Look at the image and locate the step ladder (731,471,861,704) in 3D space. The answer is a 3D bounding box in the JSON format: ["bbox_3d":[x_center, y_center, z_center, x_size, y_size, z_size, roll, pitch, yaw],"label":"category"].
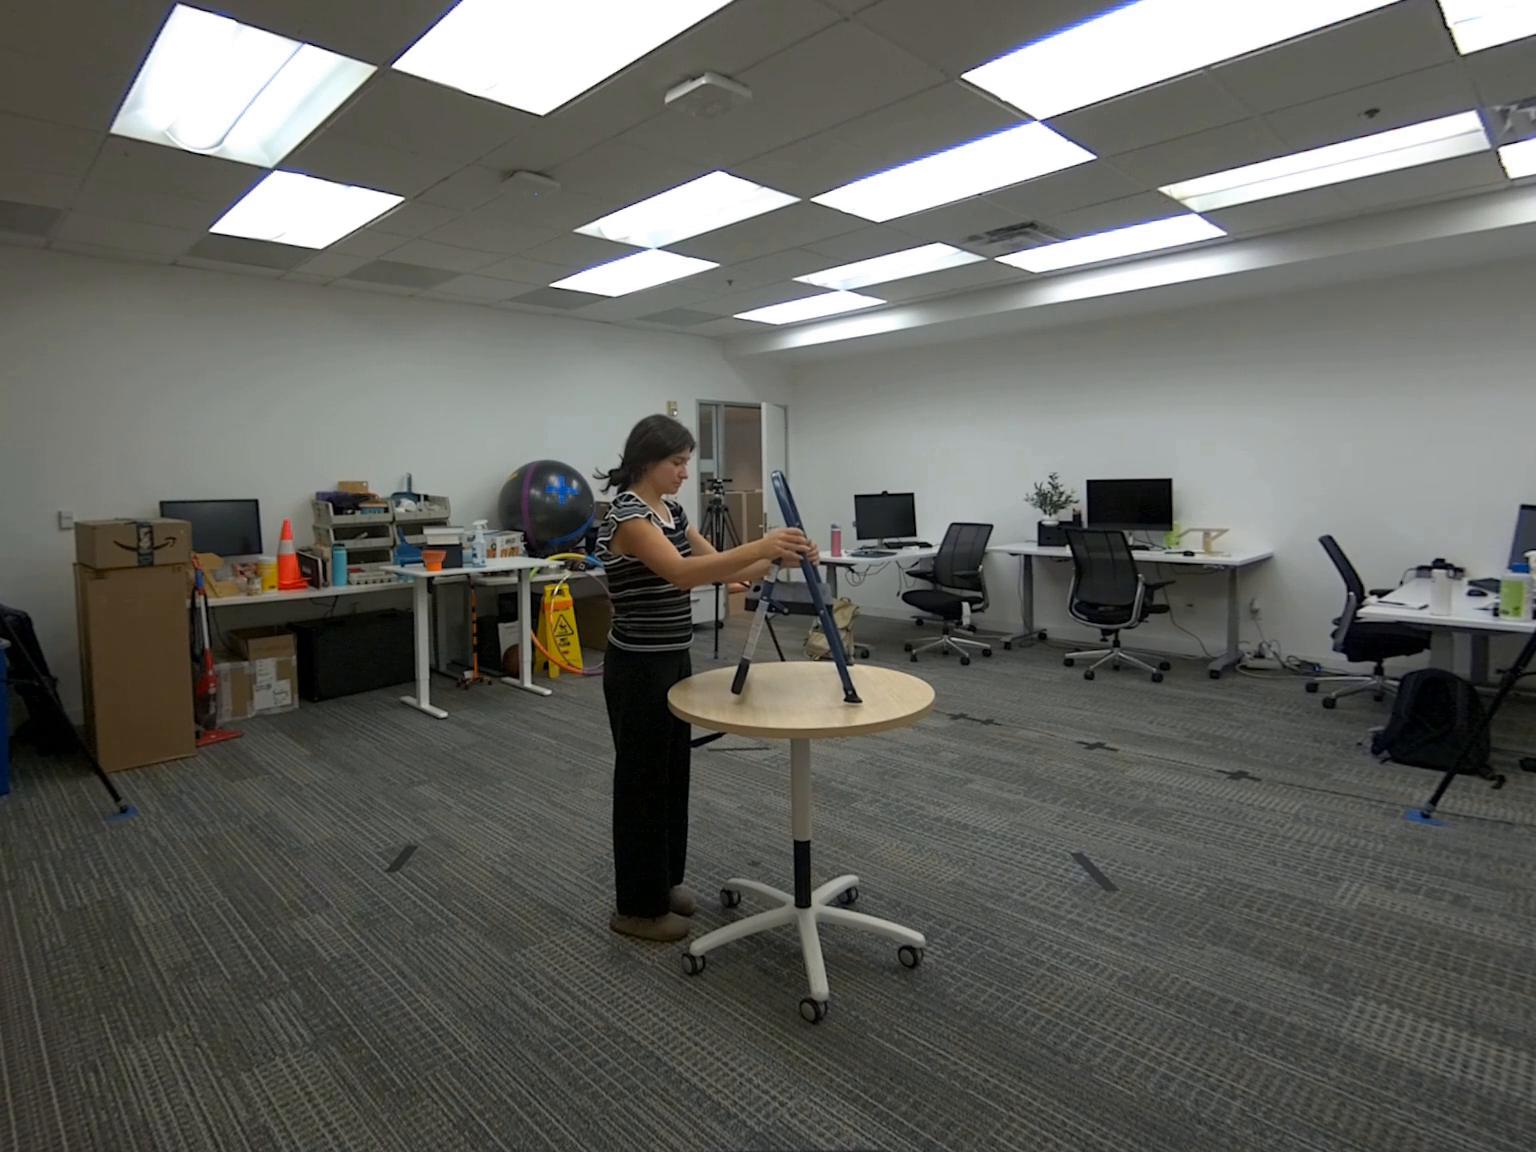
[{"bbox_3d":[0.097,0.011,2.487,0.351,0.604,0.430,2,3,3],"label":"step ladder"}]
